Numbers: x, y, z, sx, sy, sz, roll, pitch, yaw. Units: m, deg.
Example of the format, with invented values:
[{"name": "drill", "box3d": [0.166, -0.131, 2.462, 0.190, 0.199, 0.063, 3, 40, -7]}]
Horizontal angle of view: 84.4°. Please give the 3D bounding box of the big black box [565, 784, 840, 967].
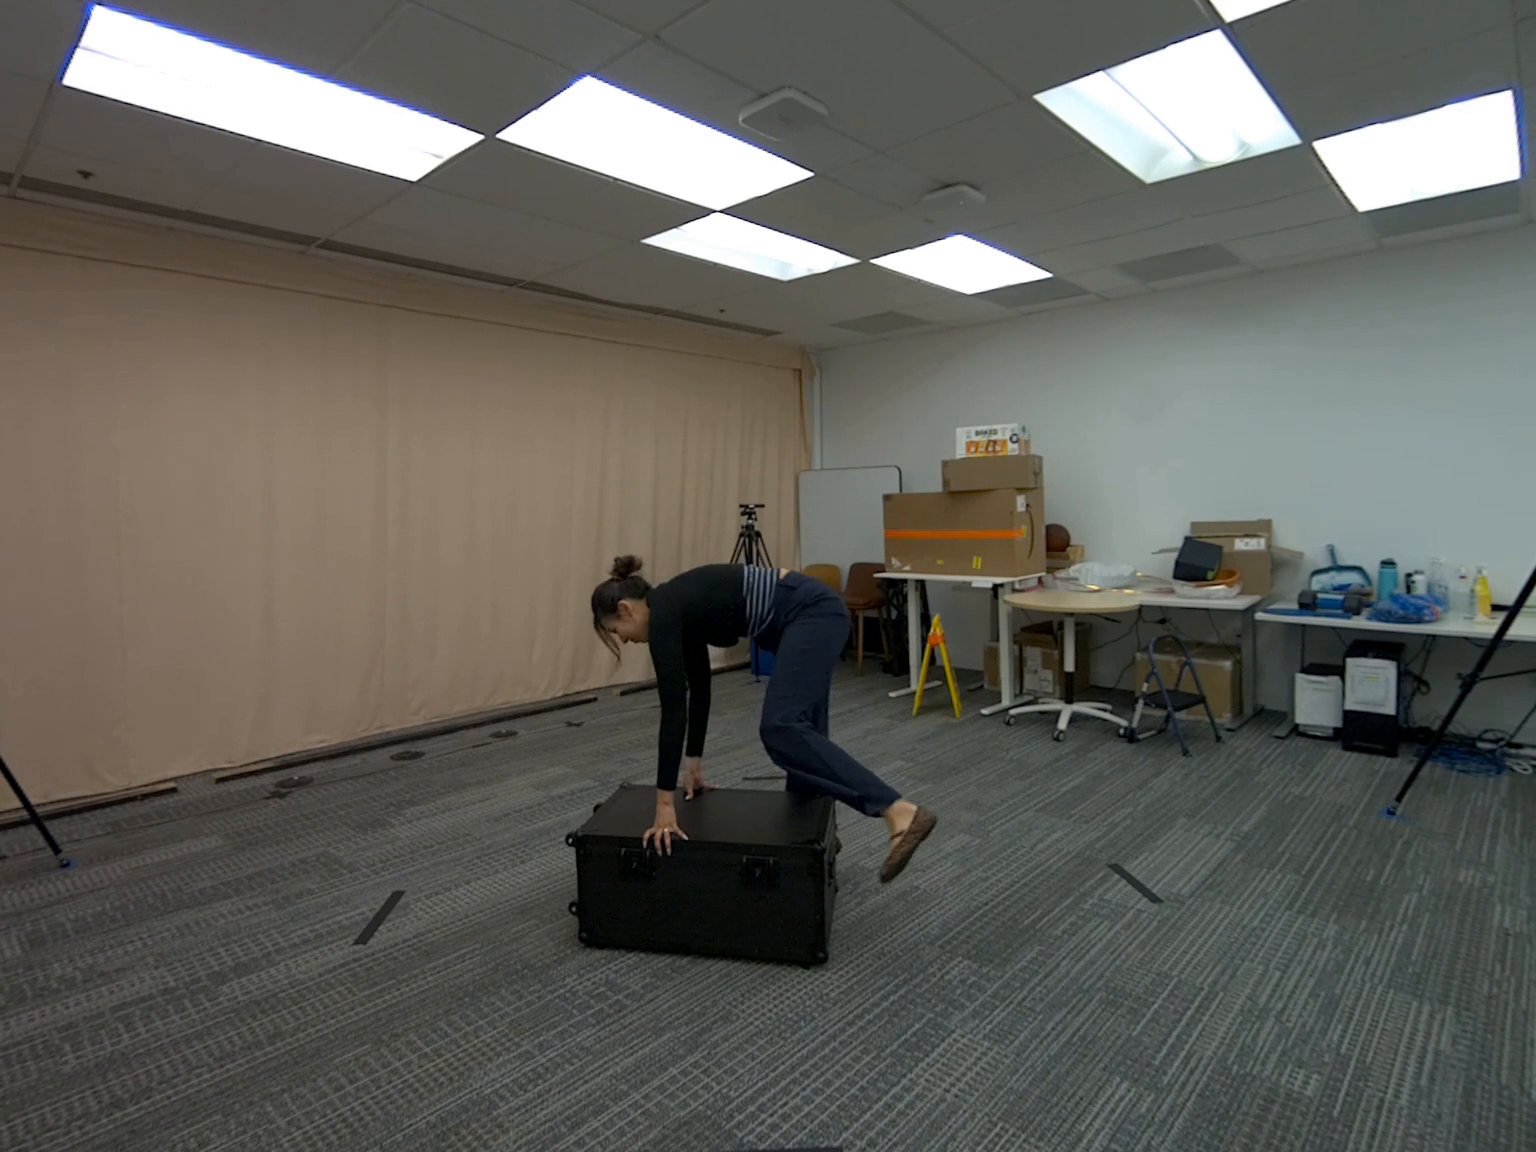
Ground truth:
[{"name": "big black box", "box3d": [-0.216, 0.965, 2.810, 0.872, 0.395, 0.516, 0, 4, 11]}]
